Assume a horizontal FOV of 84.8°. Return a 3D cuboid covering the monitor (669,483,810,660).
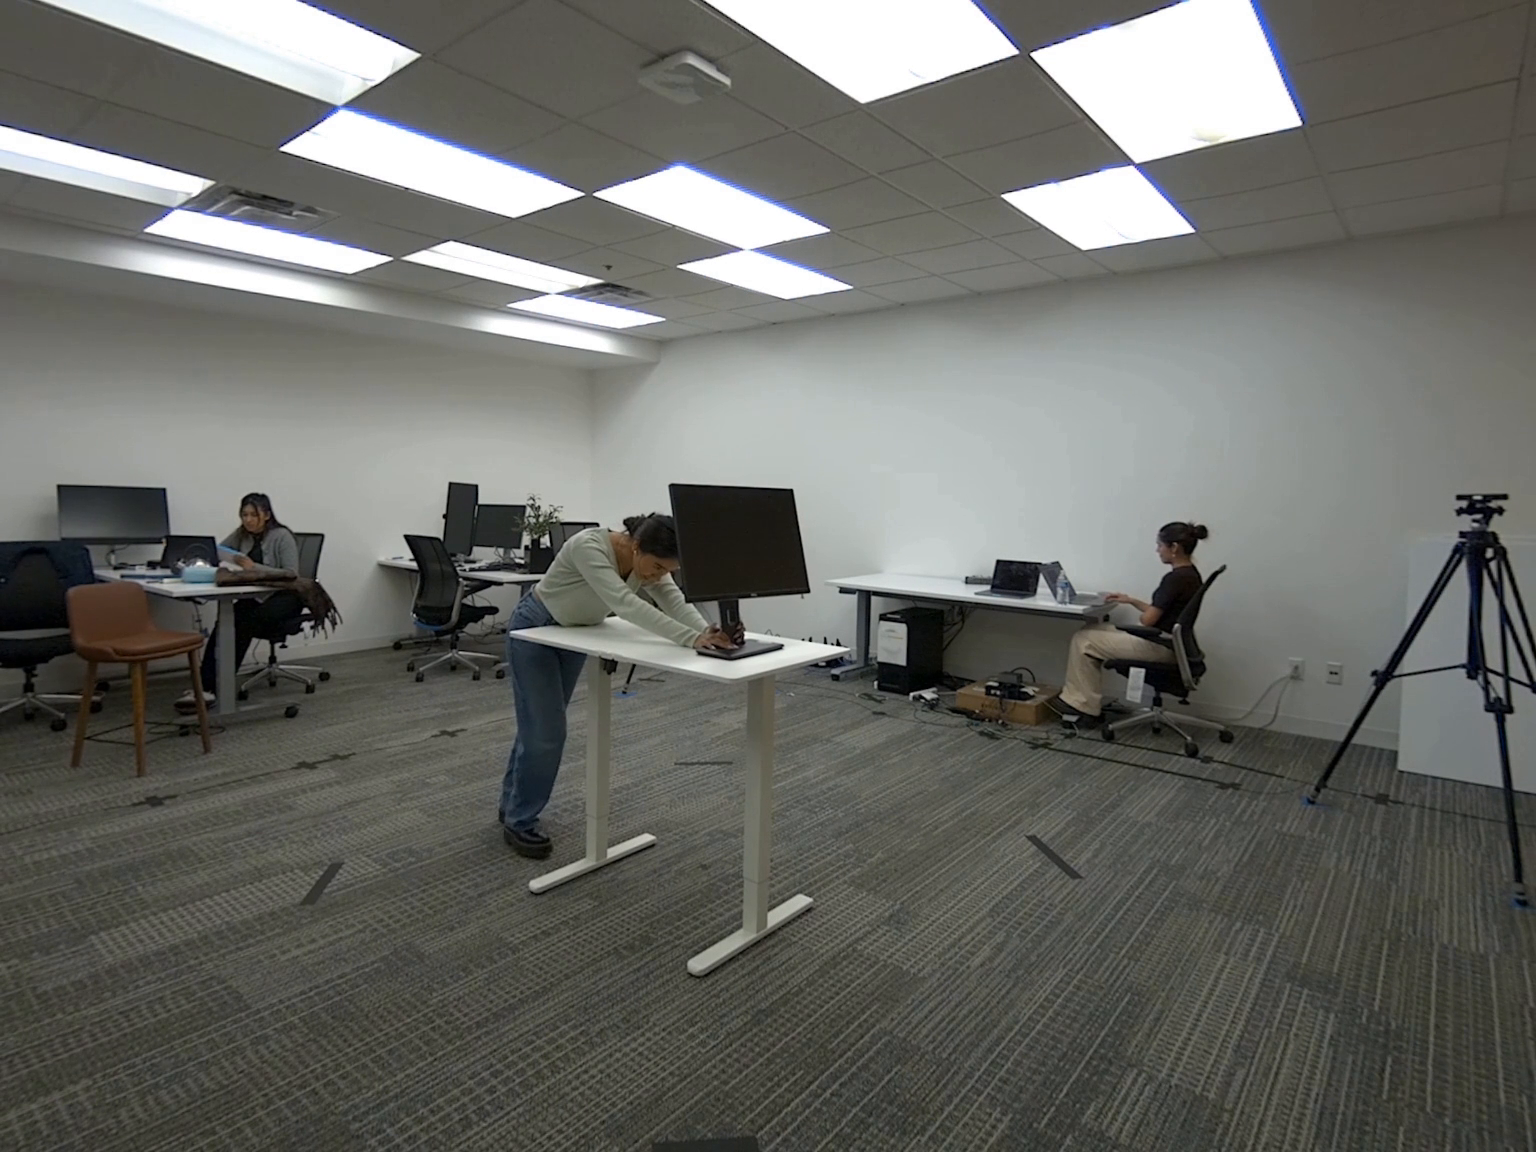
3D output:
[{"bbox_3d":[-0.105,-0.021,2.650,0.193,0.522,0.522,1,2,42],"label":"monitor"}]
